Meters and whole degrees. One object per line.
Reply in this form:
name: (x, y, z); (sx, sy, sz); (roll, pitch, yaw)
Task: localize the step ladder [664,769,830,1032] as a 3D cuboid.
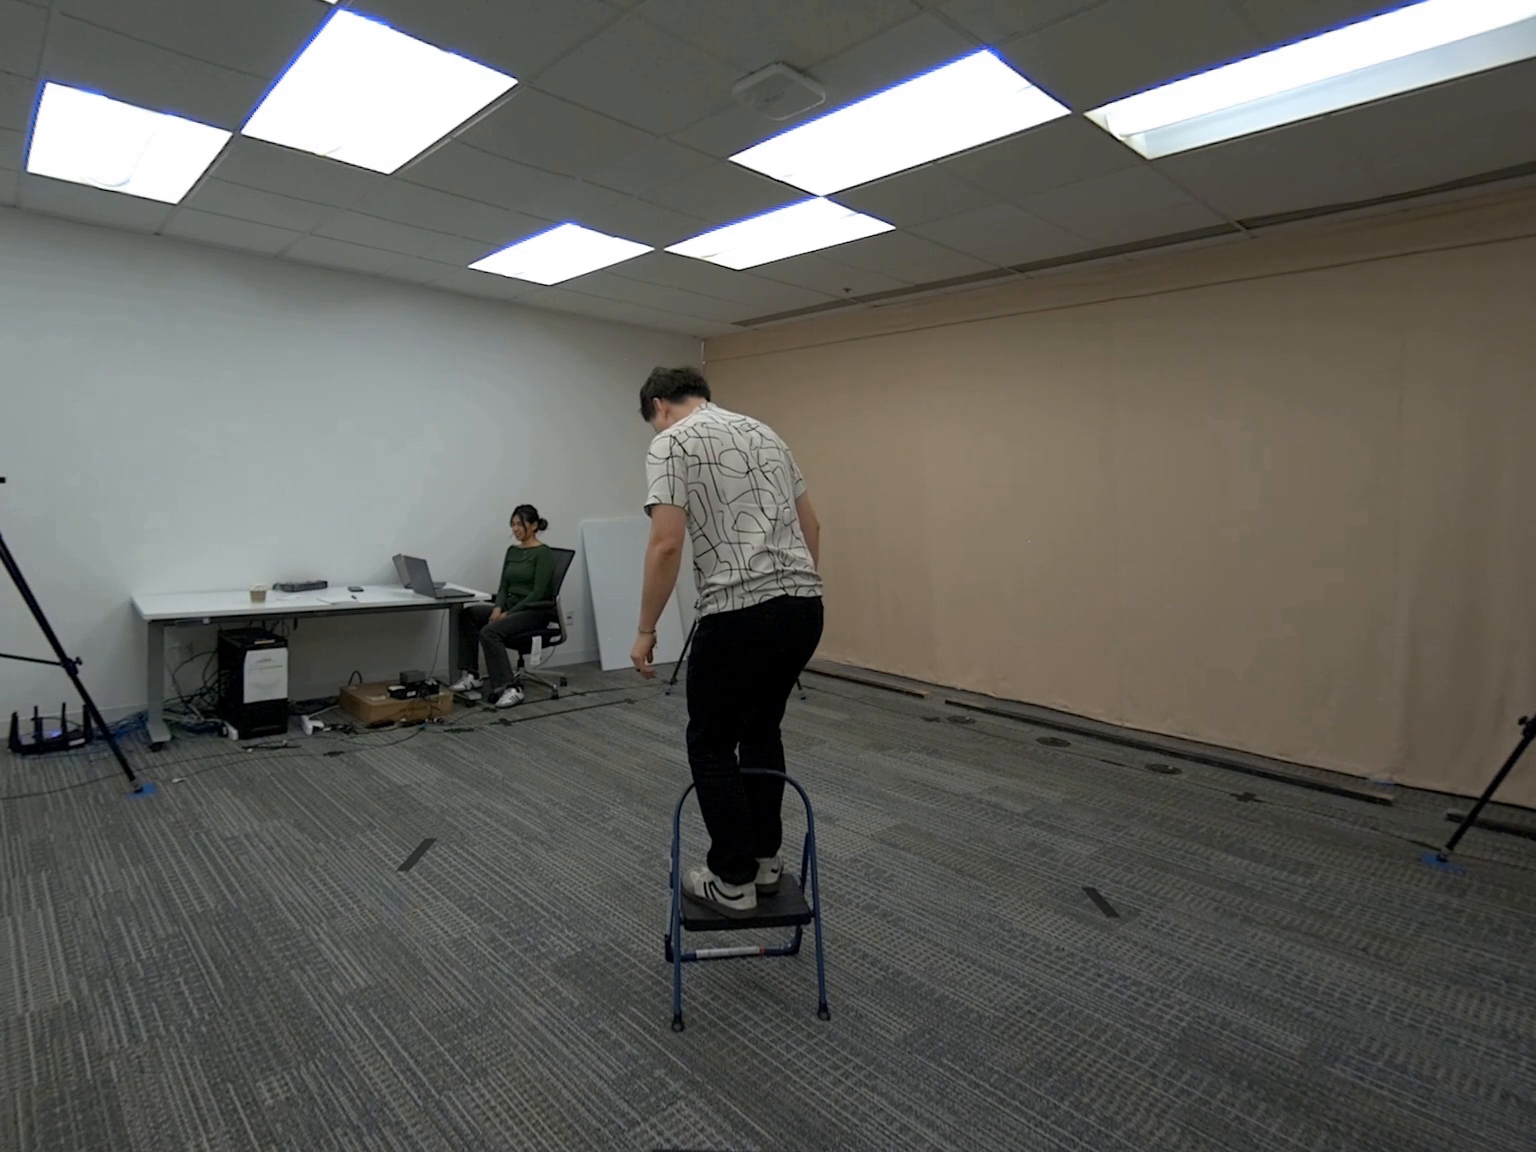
step ladder: (-0.069, 0.876, 2.372); (0.427, 0.604, 0.353); (1, 4, -11)
